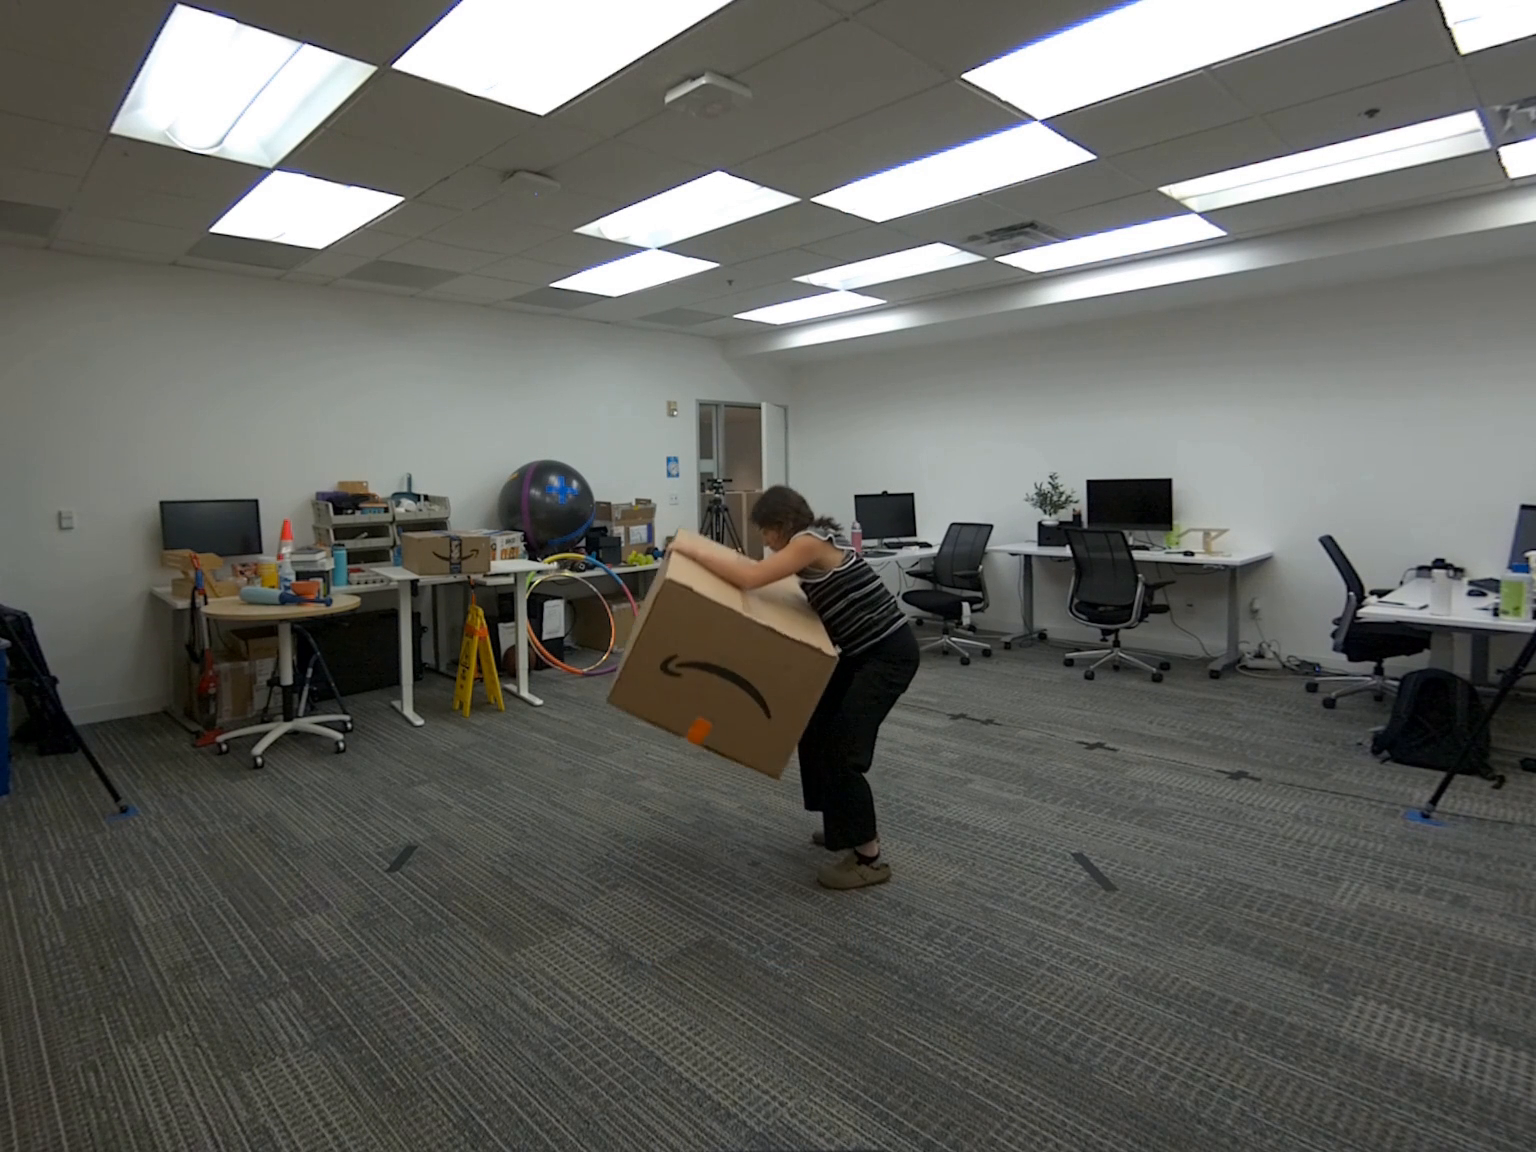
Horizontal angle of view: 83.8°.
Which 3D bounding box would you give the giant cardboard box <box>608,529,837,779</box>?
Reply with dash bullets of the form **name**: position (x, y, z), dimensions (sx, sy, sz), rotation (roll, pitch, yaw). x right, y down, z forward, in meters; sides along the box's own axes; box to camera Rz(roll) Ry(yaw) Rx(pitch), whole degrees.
- **giant cardboard box**: position (-0.163, 0.208, 3.039), dimensions (0.573, 0.425, 1.037), rotation (26, 9, -7)
